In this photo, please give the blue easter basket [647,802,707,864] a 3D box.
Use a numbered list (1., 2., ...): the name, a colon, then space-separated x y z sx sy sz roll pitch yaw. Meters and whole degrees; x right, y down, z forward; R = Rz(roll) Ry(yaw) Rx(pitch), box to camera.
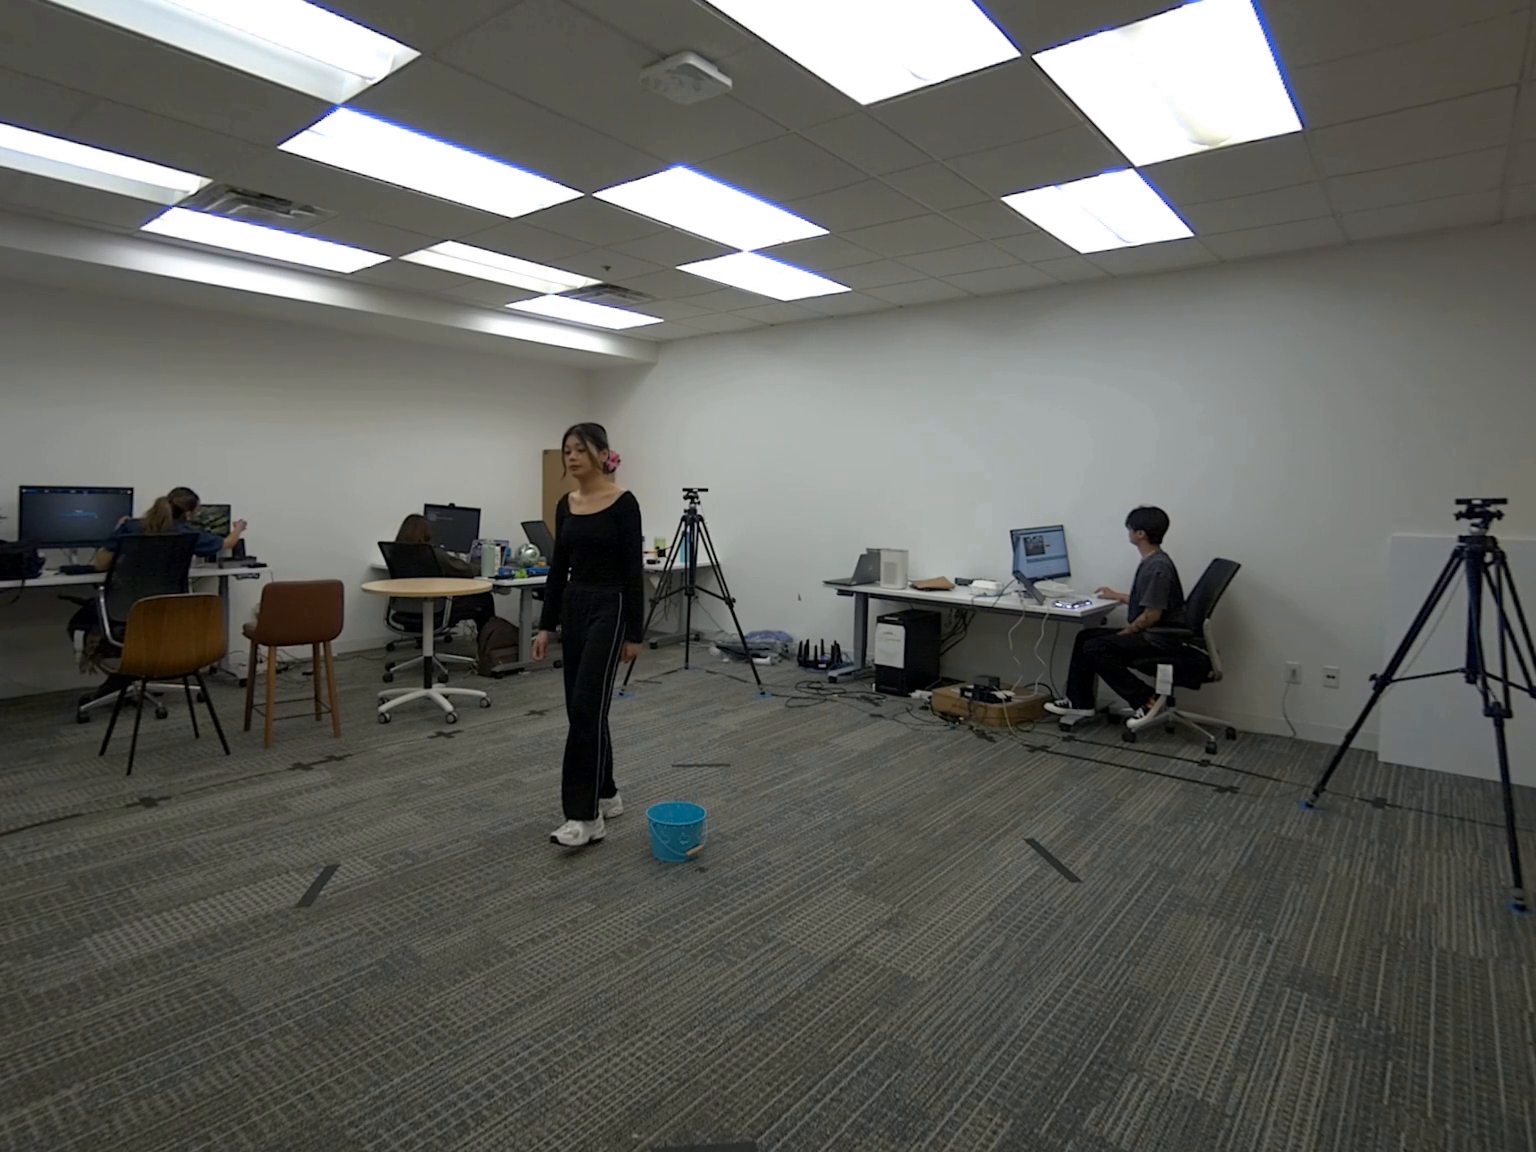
1. blue easter basket: -0.366 0.976 3.251 0.243 0.155 0.245 0 4 -2
